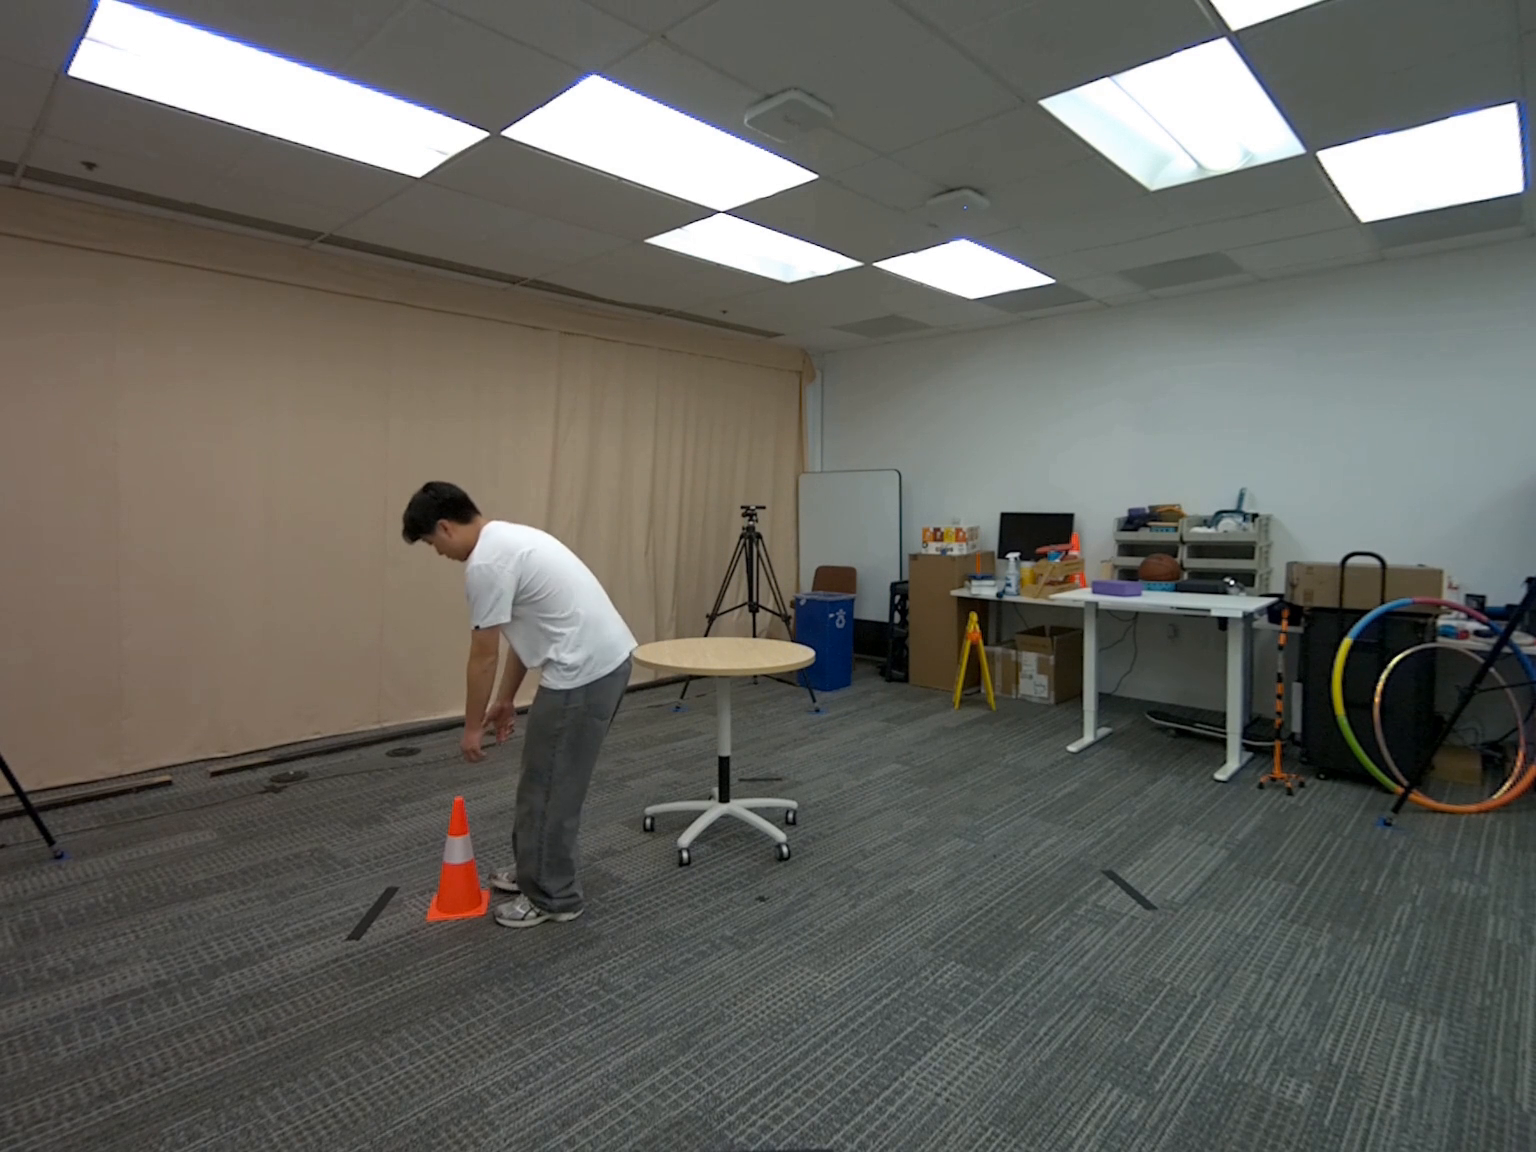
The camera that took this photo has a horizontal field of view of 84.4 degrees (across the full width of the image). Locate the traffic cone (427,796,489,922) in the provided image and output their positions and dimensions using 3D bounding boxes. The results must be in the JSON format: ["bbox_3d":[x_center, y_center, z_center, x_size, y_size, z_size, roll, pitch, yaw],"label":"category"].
[{"bbox_3d":[-1.090,0.974,2.946,0.201,0.383,0.207,1,2,-17],"label":"traffic cone"}]
